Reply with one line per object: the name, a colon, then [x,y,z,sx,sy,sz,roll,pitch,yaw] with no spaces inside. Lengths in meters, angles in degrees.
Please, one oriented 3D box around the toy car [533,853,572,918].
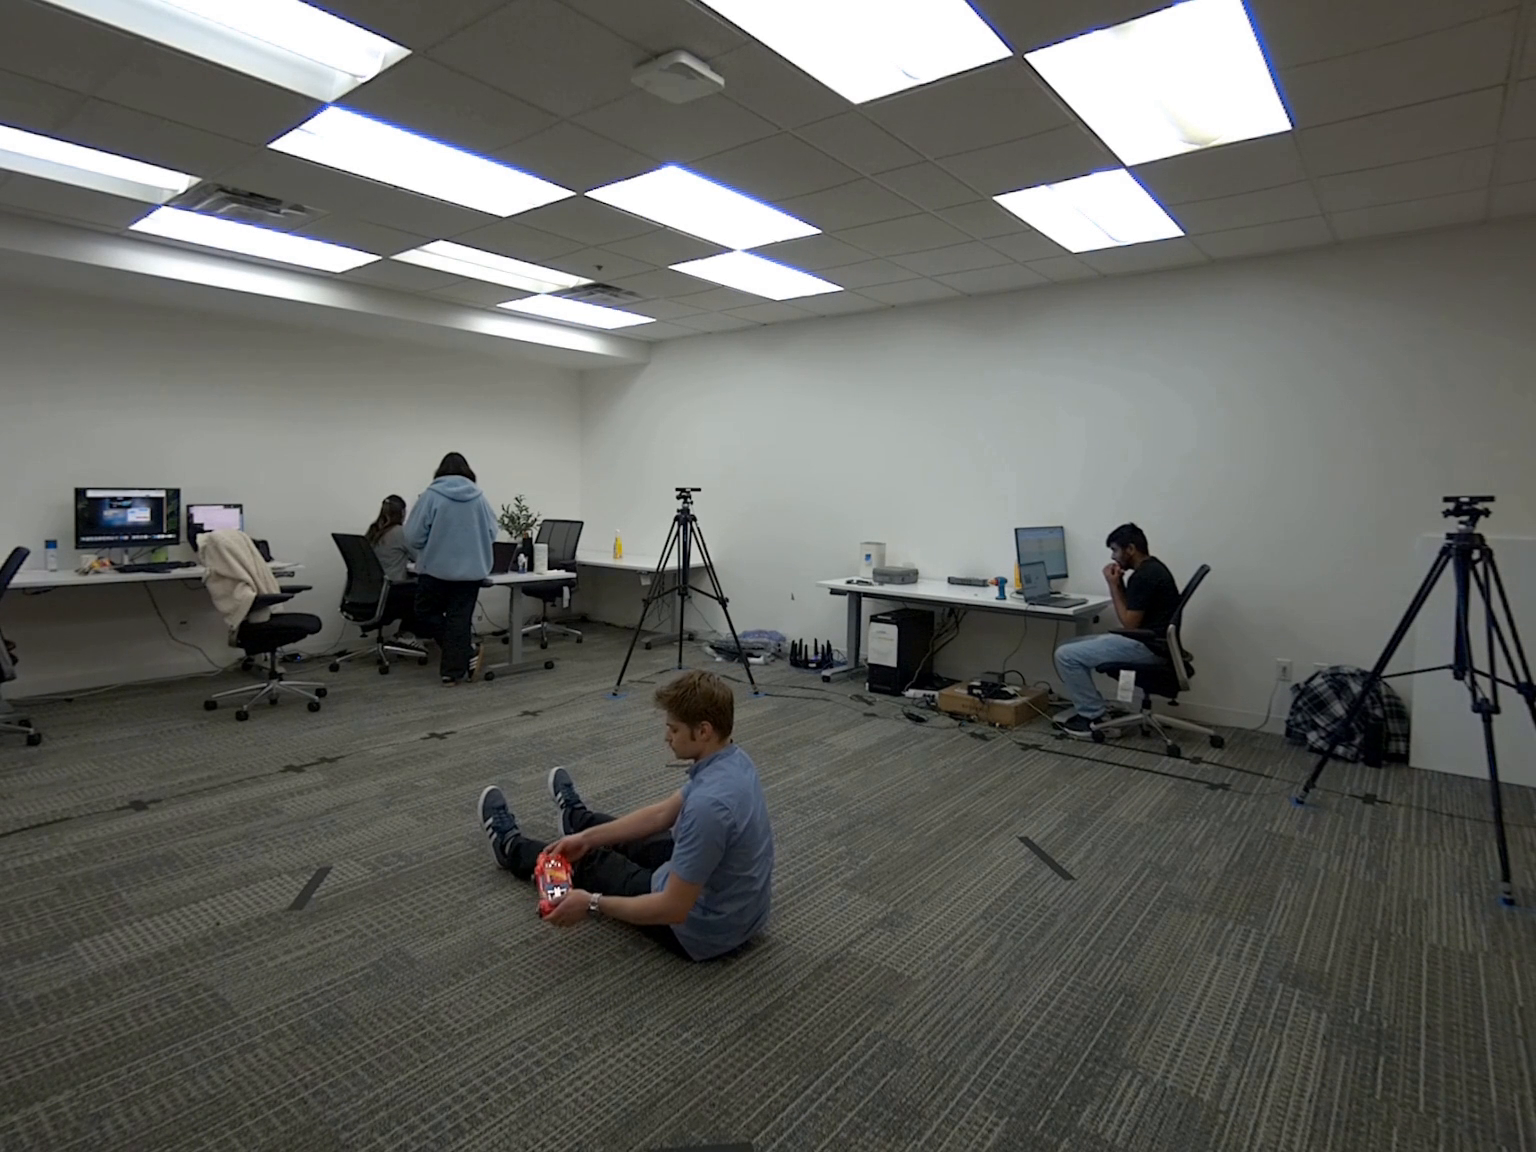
toy car: [-0.658,0.927,2.592,0.128,0.081,0.264,-3,29,-19]
